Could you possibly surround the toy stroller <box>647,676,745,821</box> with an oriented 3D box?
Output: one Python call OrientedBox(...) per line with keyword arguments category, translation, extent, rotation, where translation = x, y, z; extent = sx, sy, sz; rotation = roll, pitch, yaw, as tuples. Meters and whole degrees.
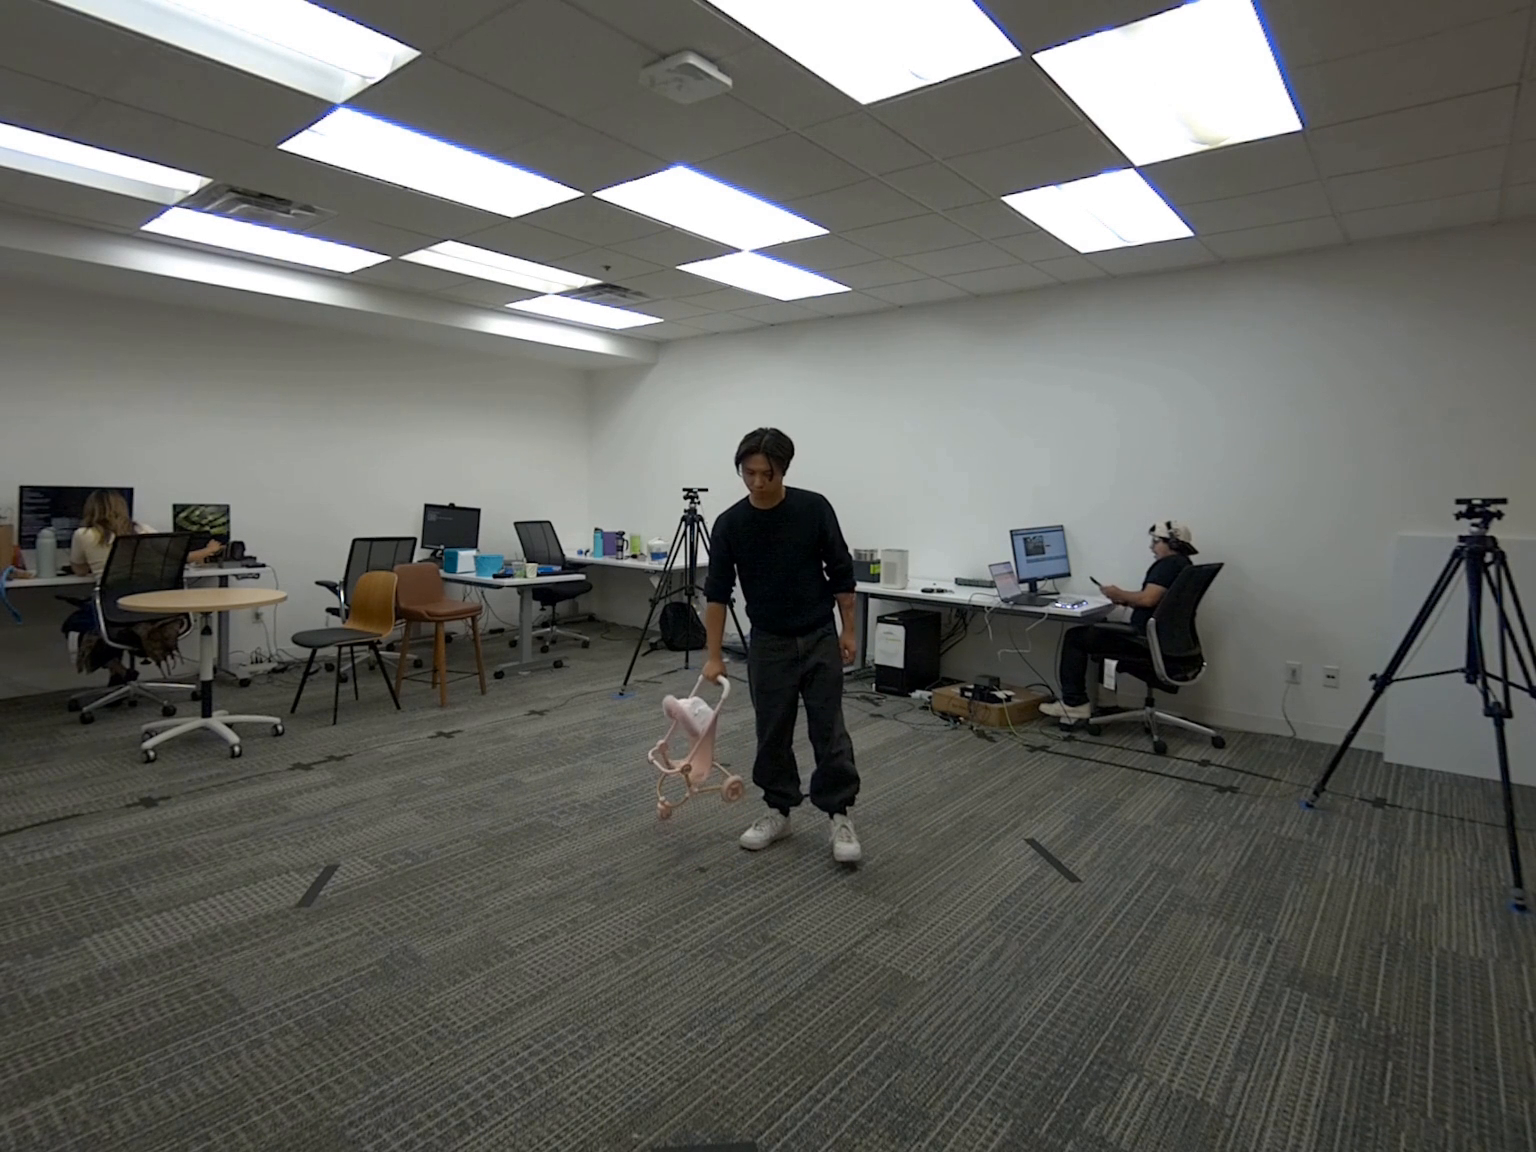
OrientedBox(category="toy stroller", translation=(-0.319, 0.670, 3.304), extent=(0.335, 0.525, 0.292), rotation=(-13, 21, -26))
